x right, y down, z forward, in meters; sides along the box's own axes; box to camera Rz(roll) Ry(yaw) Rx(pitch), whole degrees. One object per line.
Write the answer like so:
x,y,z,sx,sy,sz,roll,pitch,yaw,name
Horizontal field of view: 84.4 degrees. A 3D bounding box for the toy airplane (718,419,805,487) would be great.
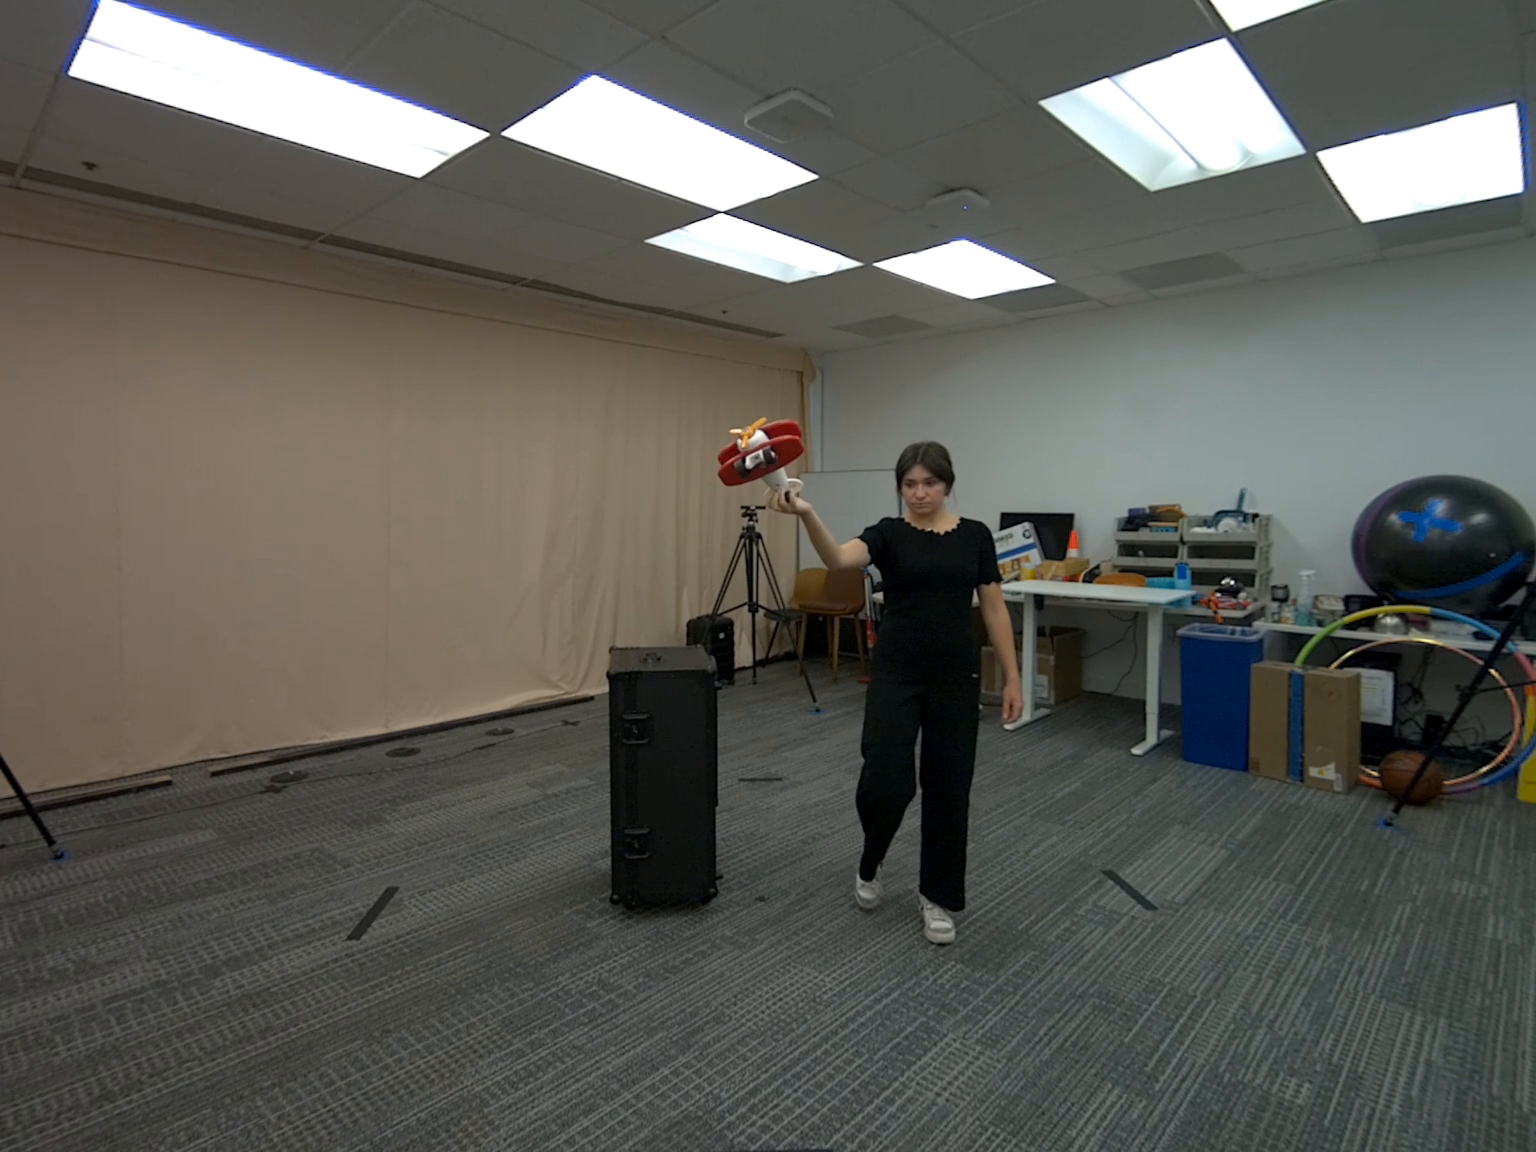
-0.023,-0.311,2.413,0.250,0.160,0.255,-5,-35,-4,toy airplane
